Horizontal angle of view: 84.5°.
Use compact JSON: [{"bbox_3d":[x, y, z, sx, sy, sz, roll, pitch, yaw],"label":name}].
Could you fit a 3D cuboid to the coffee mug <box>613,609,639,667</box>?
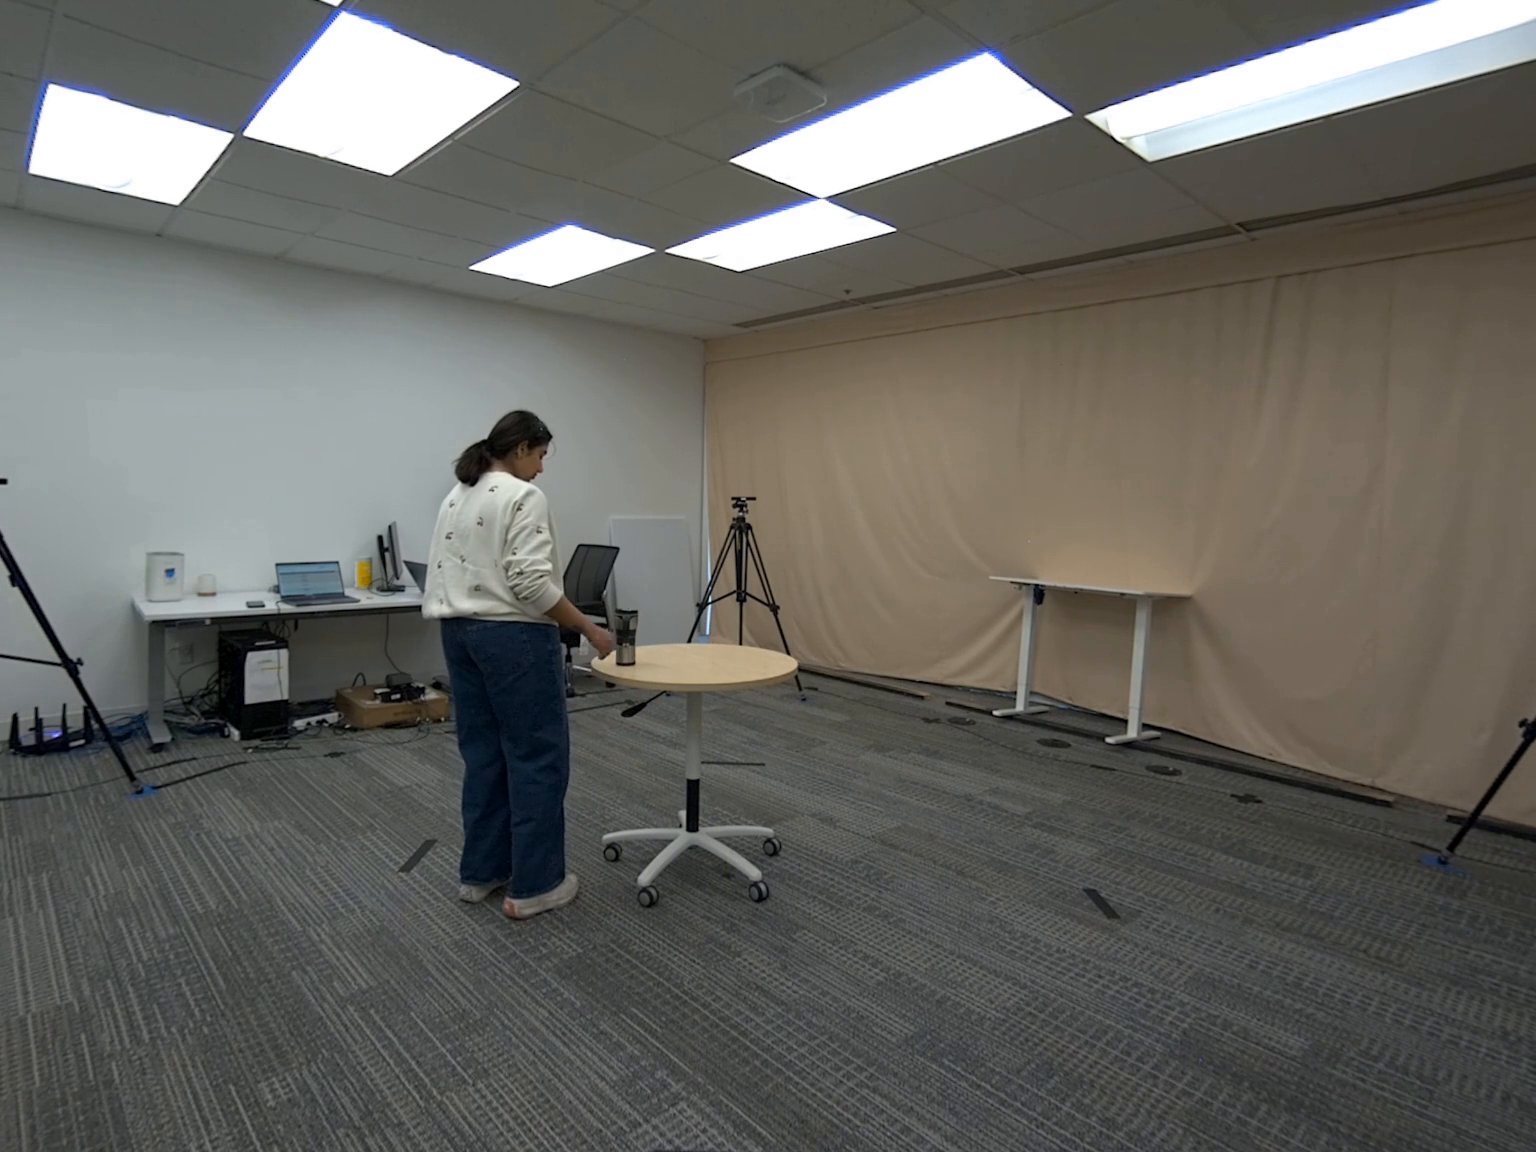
[{"bbox_3d":[-0.539,0.227,3.037,0.119,0.202,0.090,0,8,-38],"label":"coffee mug"}]
